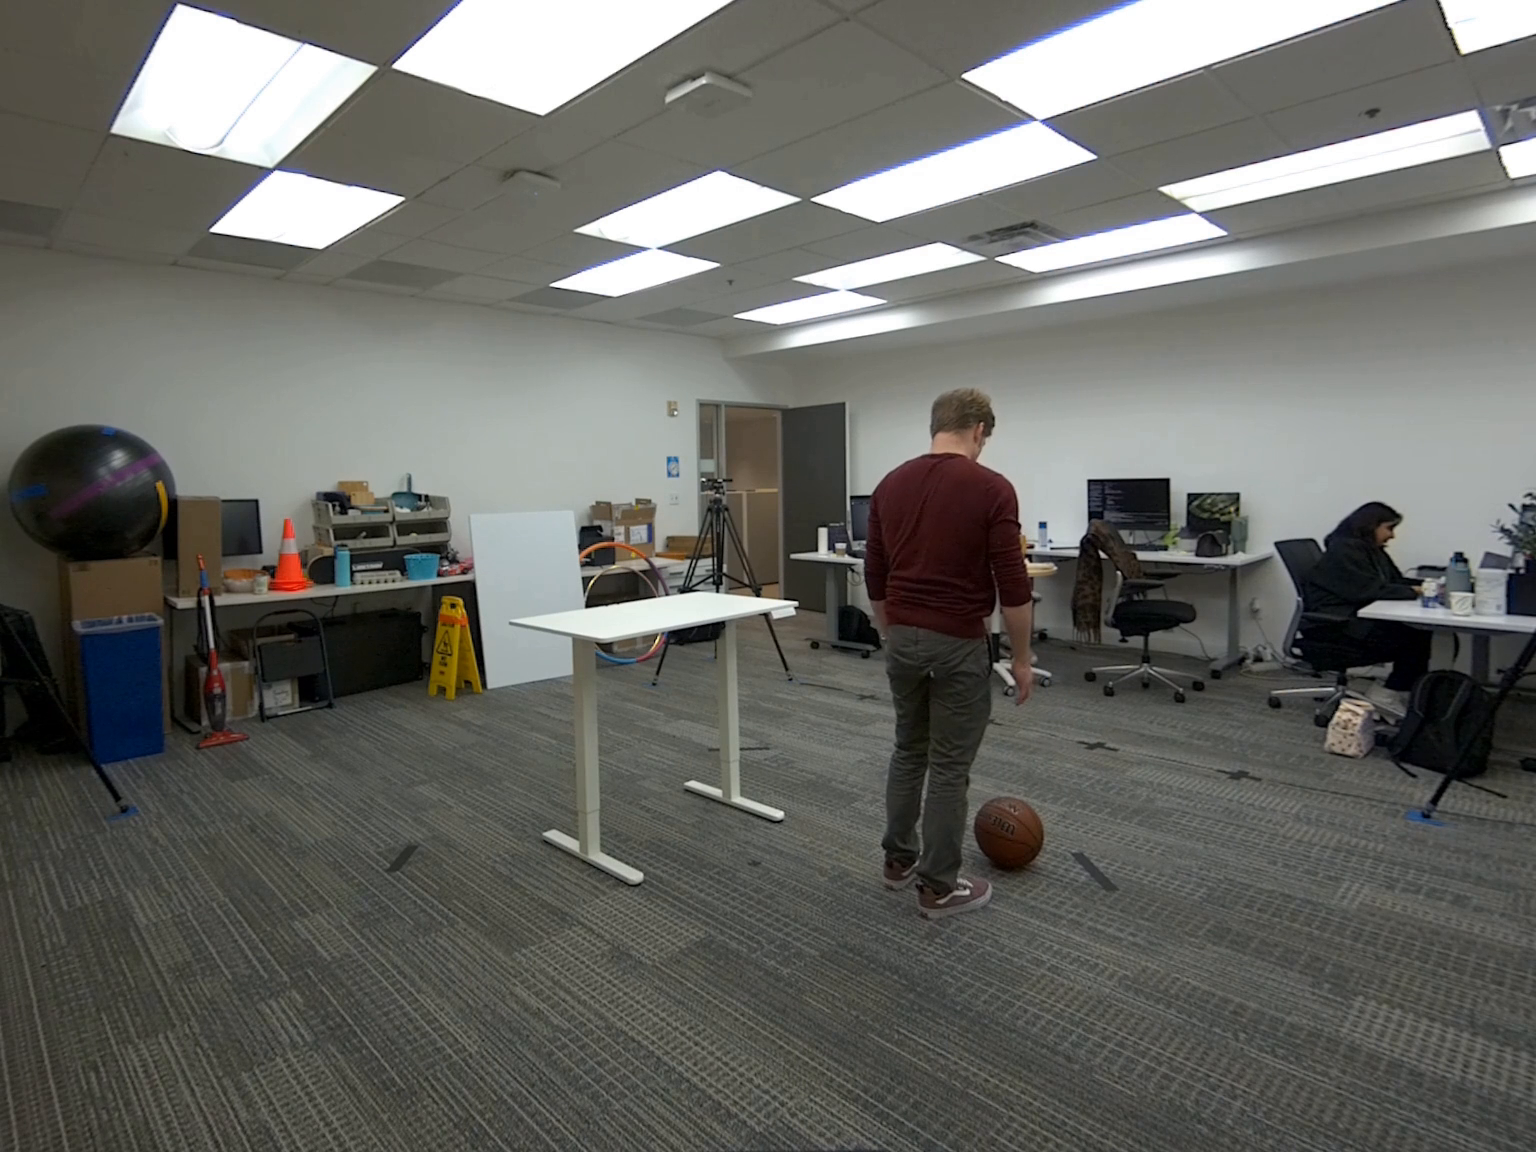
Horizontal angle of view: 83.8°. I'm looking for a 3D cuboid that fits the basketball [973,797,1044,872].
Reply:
[{"bbox_3d":[0.873,0.919,3.053,0.236,0.235,0.237,-1,5,-2],"label":"basketball"}]
